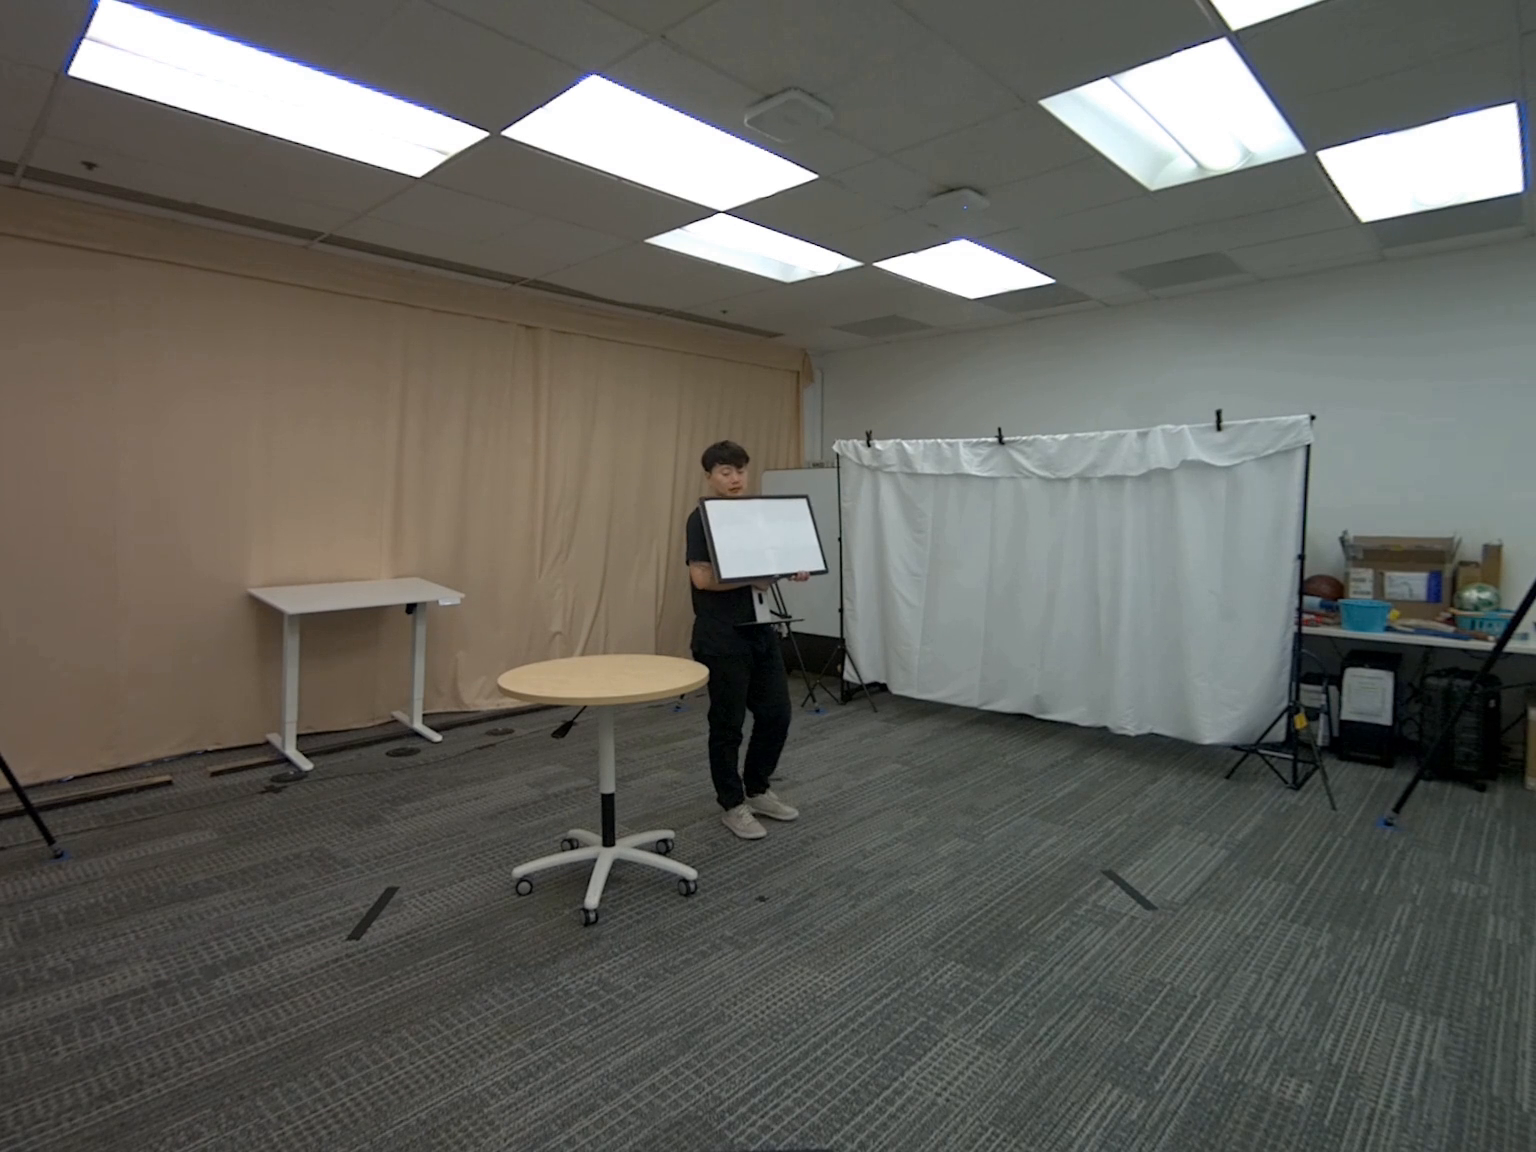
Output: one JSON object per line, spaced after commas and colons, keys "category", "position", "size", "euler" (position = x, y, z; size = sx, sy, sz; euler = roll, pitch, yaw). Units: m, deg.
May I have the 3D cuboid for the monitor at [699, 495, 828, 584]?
{"category": "monitor", "position": [-0.016, -0.071, 3.515], "size": [0.524, 0.524, 0.192], "euler": [-4, -5, -34]}
